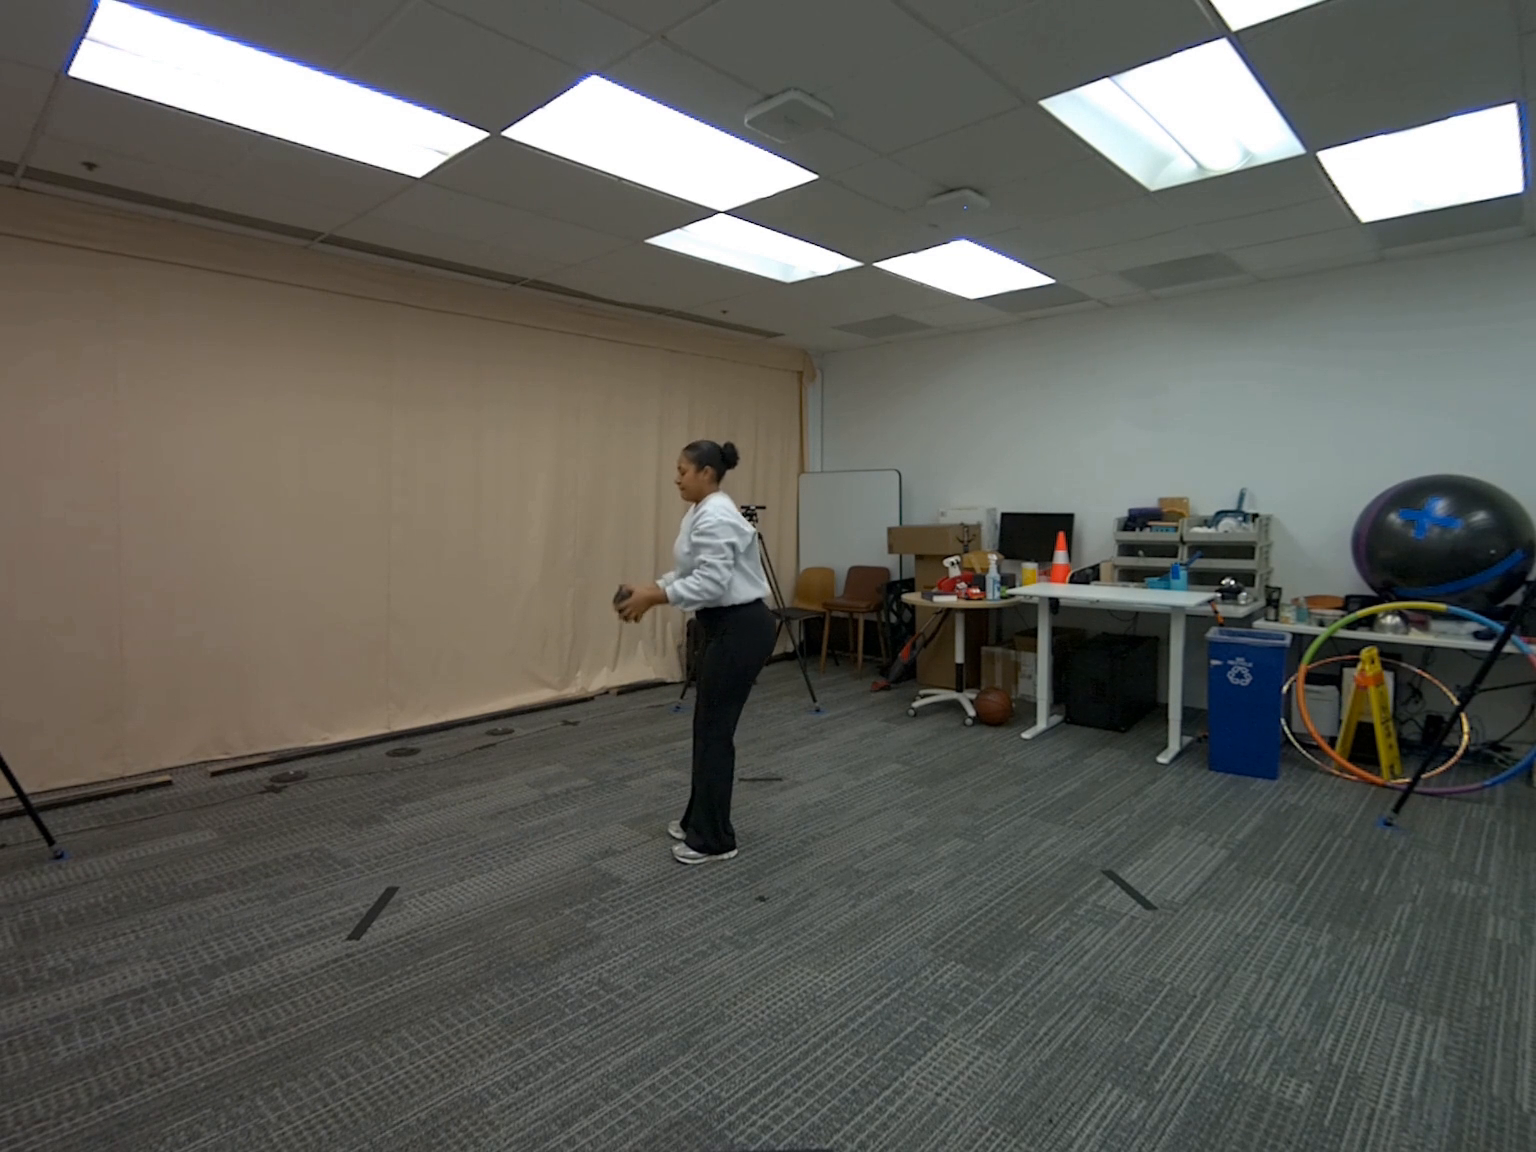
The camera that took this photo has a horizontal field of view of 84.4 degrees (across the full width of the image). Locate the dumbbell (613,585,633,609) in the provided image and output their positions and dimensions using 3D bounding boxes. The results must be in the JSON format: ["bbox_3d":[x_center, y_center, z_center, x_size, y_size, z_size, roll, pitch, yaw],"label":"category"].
[{"bbox_3d":[-0.526,0.100,3.364,0.122,0.108,0.296,-12,5,-7],"label":"dumbbell"}]
